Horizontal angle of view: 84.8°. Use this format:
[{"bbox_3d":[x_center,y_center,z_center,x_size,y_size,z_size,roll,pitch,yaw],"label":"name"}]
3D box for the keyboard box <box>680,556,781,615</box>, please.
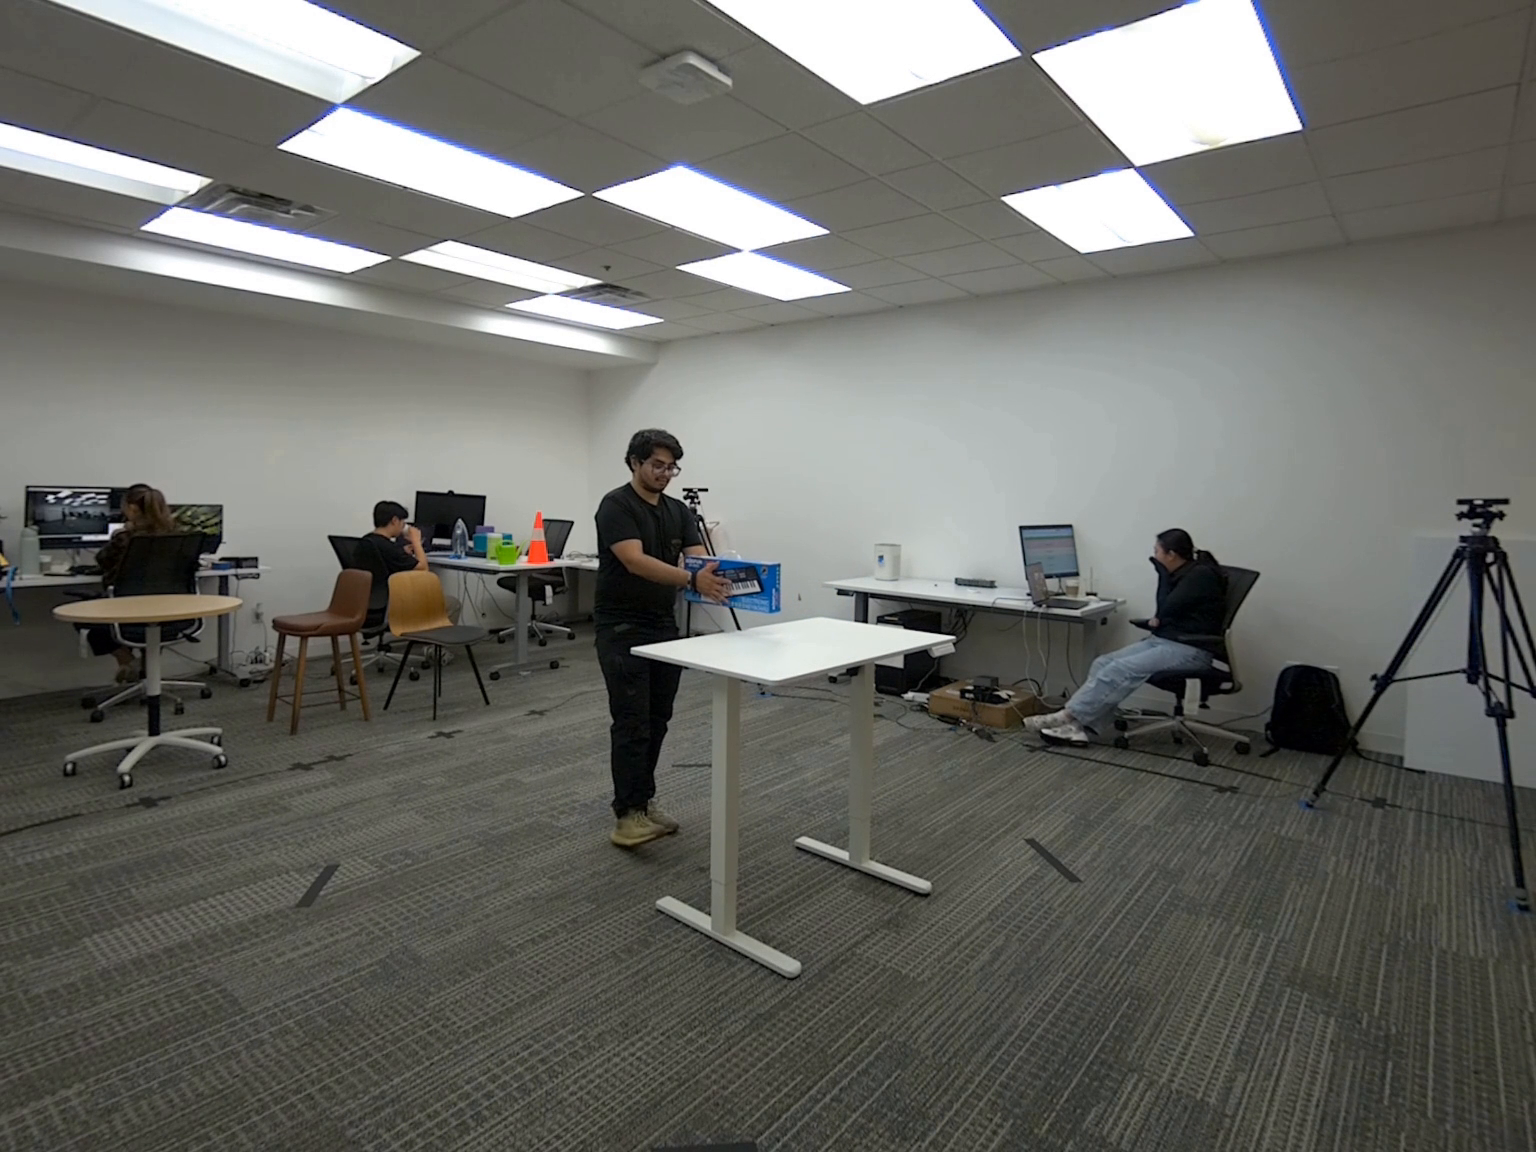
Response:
[{"bbox_3d":[-0.142,0.025,3.103,0.452,0.175,0.057,6,6,43],"label":"keyboard box"}]
